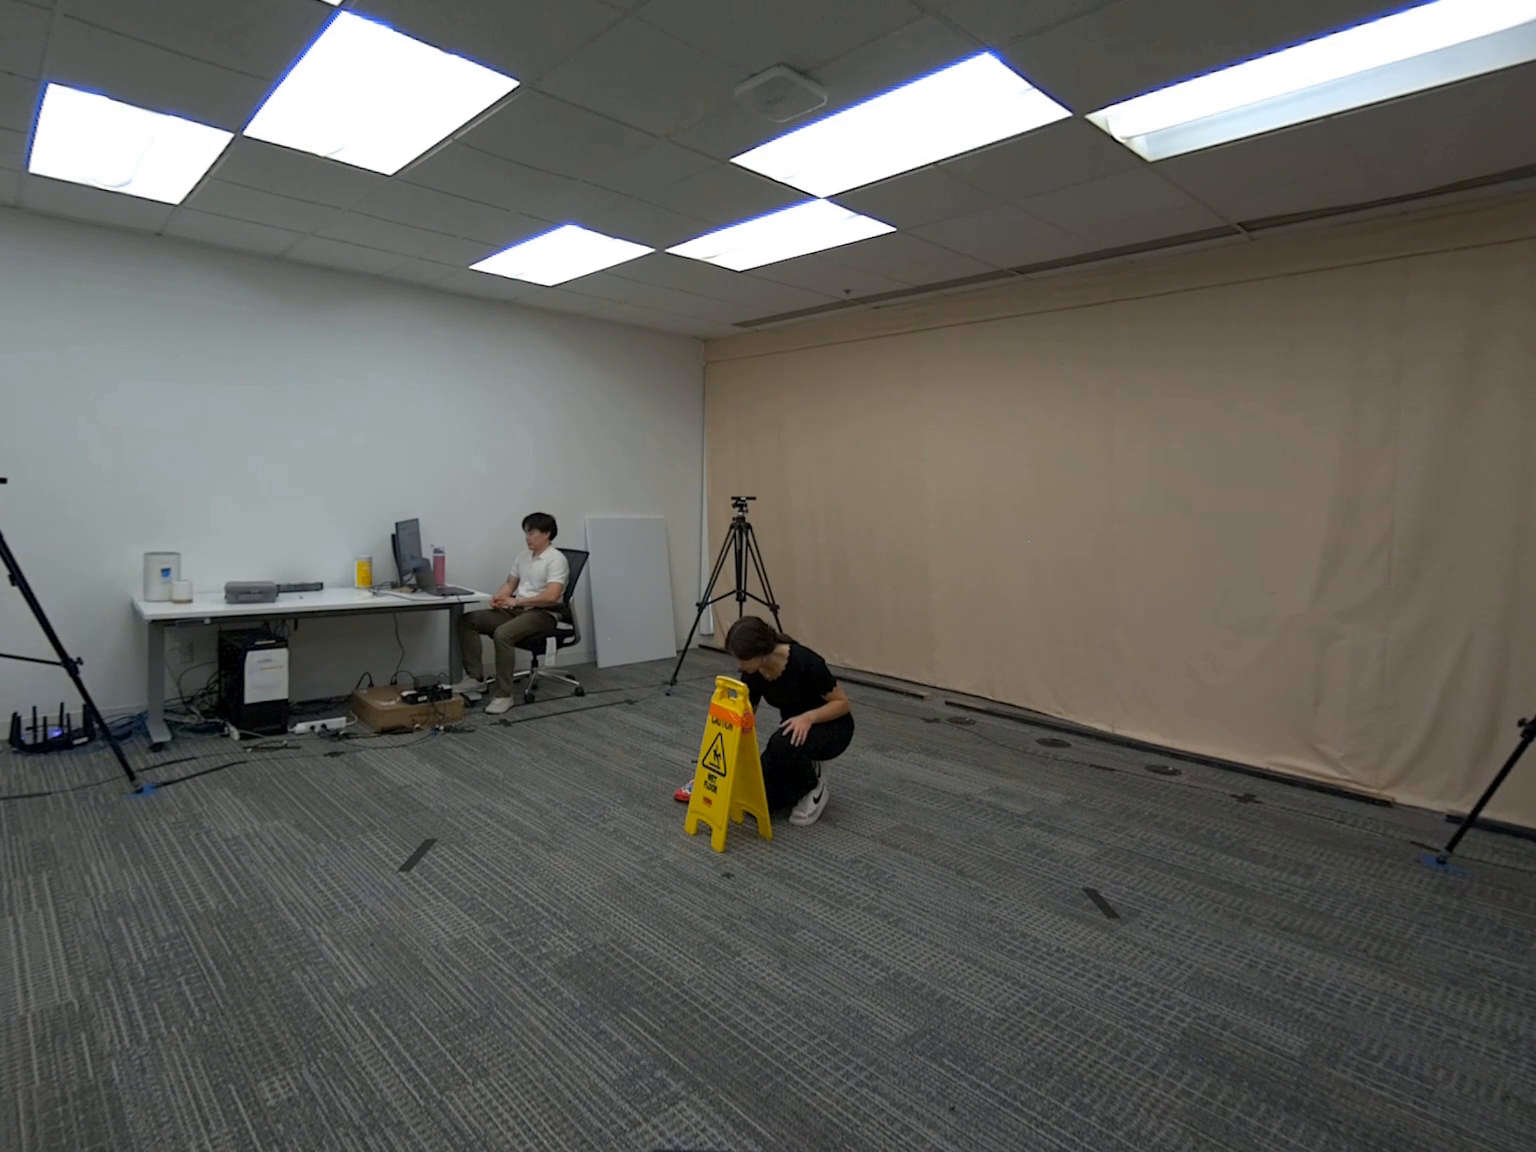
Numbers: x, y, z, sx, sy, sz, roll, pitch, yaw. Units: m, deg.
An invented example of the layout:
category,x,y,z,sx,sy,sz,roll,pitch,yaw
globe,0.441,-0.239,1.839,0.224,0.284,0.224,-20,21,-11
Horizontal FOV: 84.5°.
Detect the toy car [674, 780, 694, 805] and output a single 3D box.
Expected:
category,x,y,z,sx,sy,sz,roll,pitch,yaw
toy car,-0.335,0.994,3.925,0.133,0.082,0.251,3,15,29
